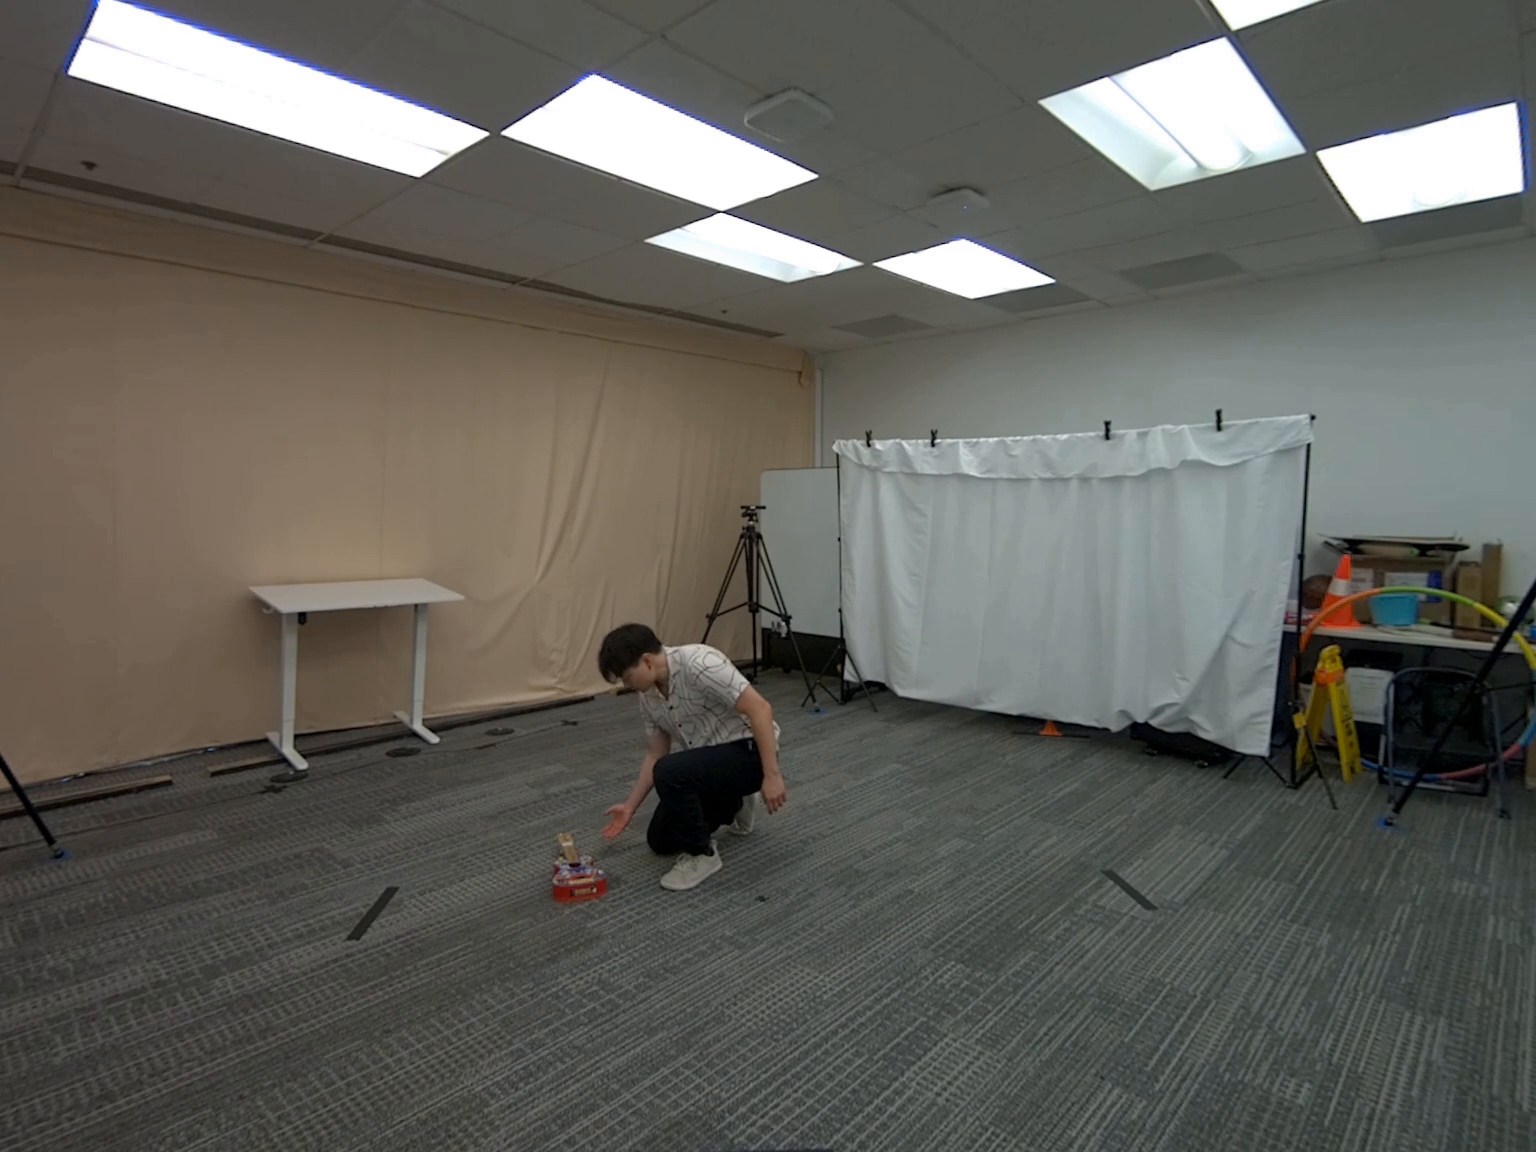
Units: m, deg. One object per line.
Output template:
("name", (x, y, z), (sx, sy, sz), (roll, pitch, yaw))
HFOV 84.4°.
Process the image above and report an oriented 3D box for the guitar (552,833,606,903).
("guitar", (-0.719, 1.098, 3.223), (0.191, 0.070, 0.504), (-2, 5, -12))
